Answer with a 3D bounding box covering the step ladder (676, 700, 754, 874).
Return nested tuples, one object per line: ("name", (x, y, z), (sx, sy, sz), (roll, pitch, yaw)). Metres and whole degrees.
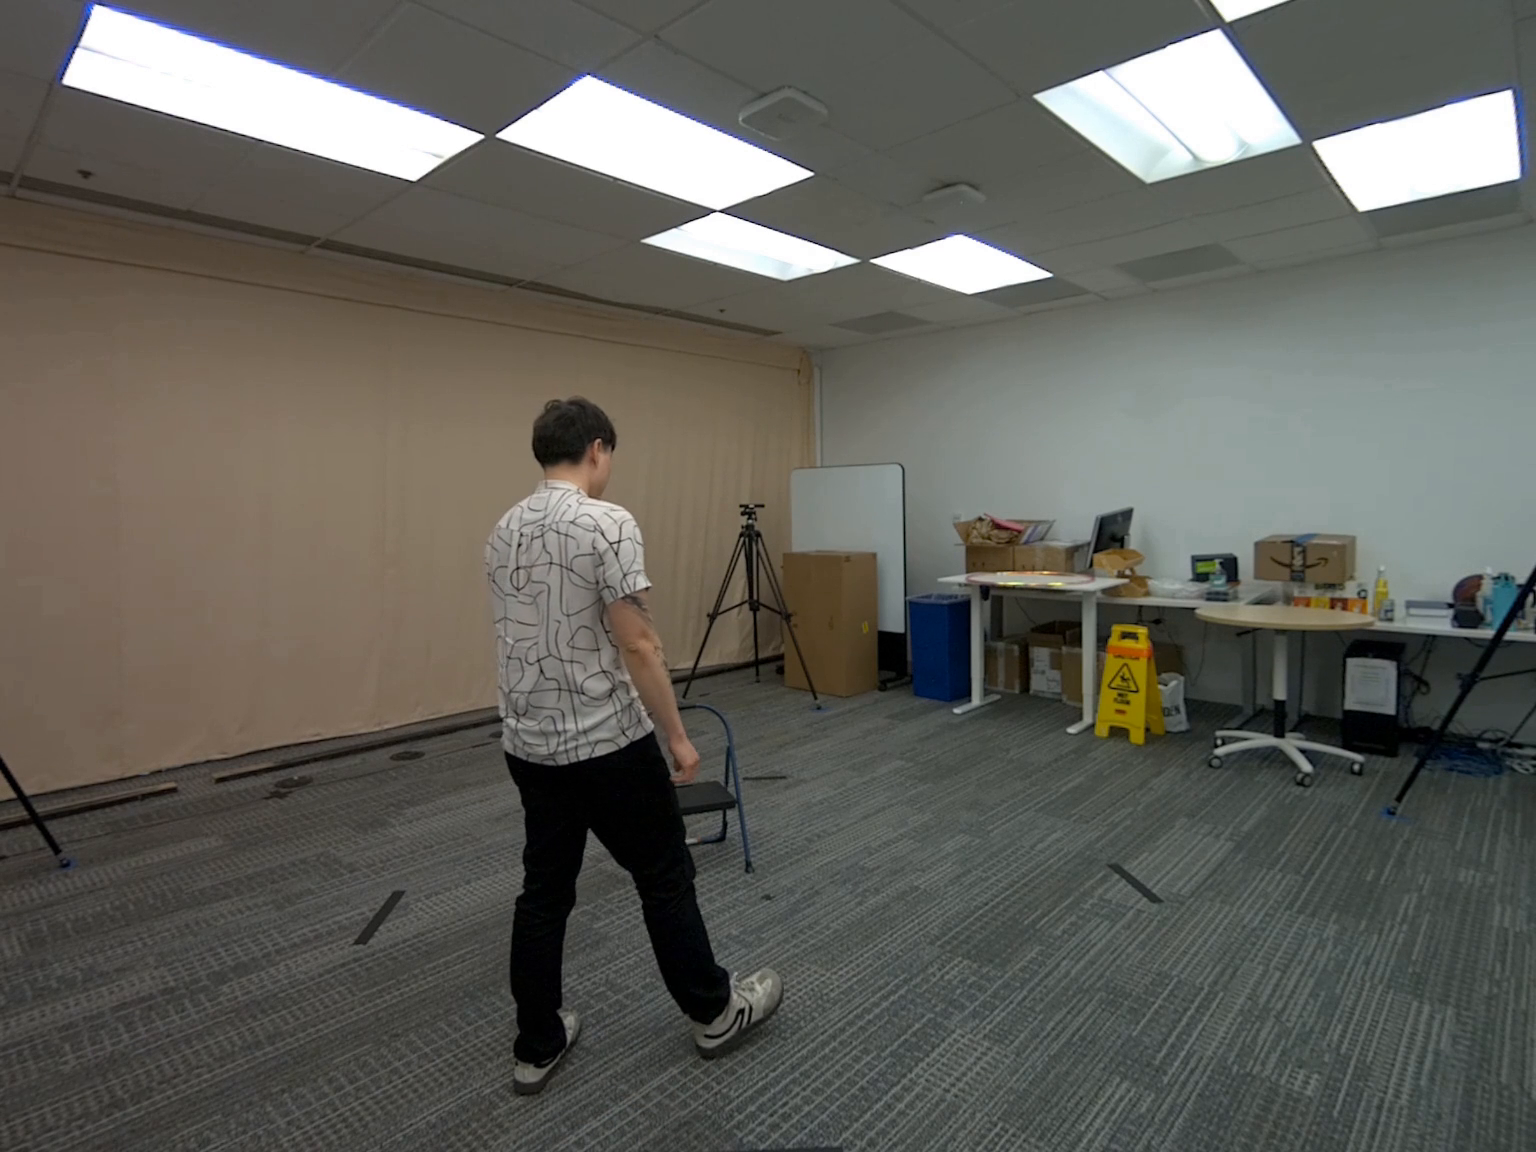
("step ladder", (-0.315, 0.818, 3.276), (0.422, 0.605, 0.357), (-2, 3, -20))
